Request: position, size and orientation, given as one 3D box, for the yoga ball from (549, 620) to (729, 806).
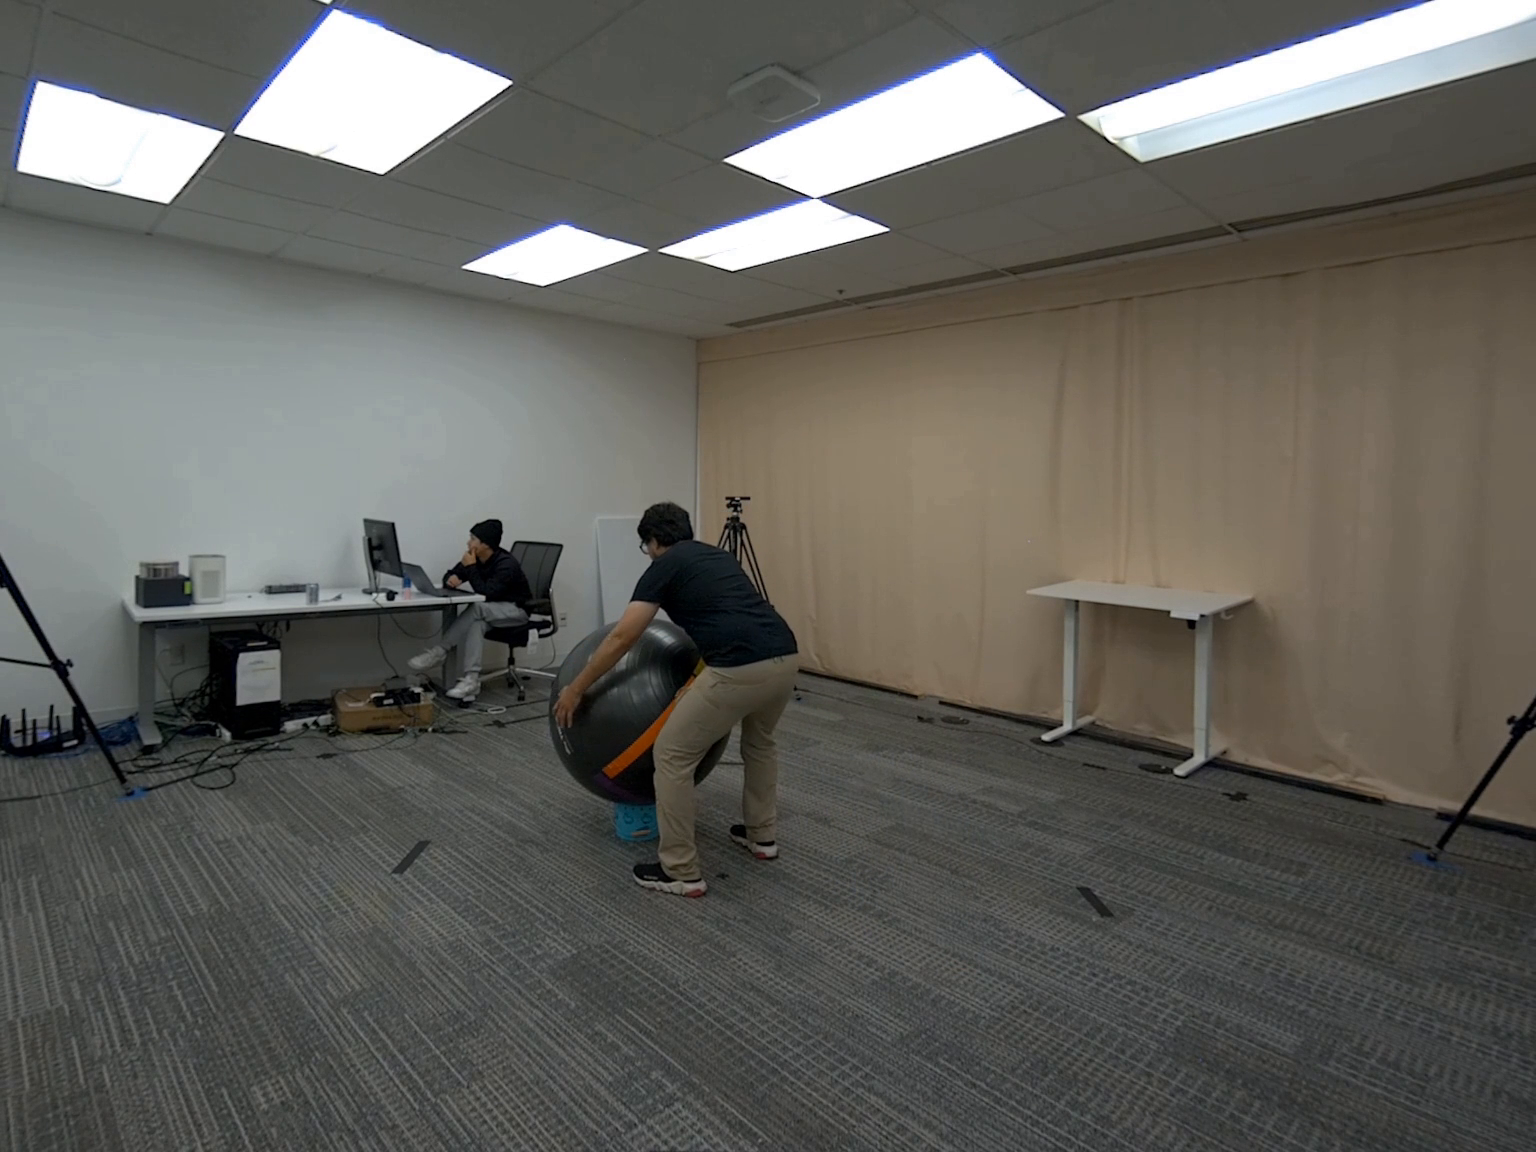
[{"bbox_3d":[-0.534,0.561,3.485,0.757,0.756,0.761,1,4,-1],"label":"yoga ball"}]
